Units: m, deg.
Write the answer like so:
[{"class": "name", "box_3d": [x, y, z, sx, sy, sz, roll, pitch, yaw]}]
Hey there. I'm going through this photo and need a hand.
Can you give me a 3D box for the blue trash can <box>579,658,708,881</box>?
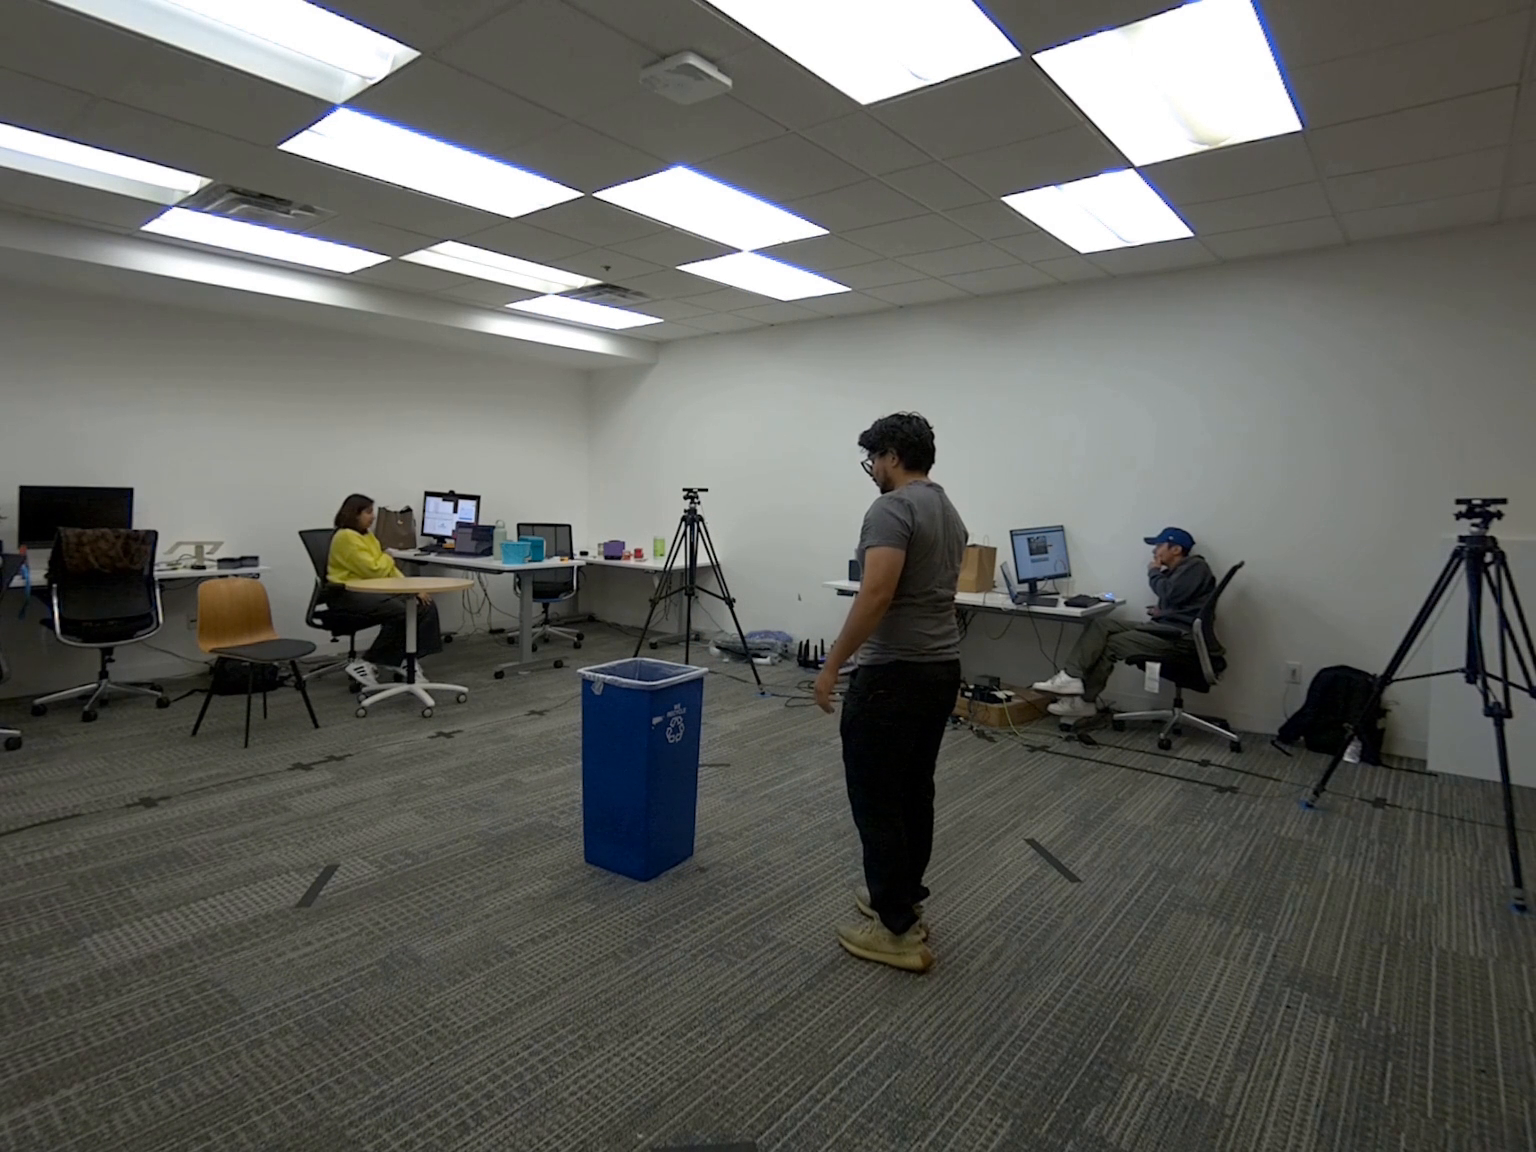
[{"class": "blue trash can", "box_3d": [-0.482, 0.700, 3.188, 0.390, 0.712, 0.364, 3, 4, 32]}]
